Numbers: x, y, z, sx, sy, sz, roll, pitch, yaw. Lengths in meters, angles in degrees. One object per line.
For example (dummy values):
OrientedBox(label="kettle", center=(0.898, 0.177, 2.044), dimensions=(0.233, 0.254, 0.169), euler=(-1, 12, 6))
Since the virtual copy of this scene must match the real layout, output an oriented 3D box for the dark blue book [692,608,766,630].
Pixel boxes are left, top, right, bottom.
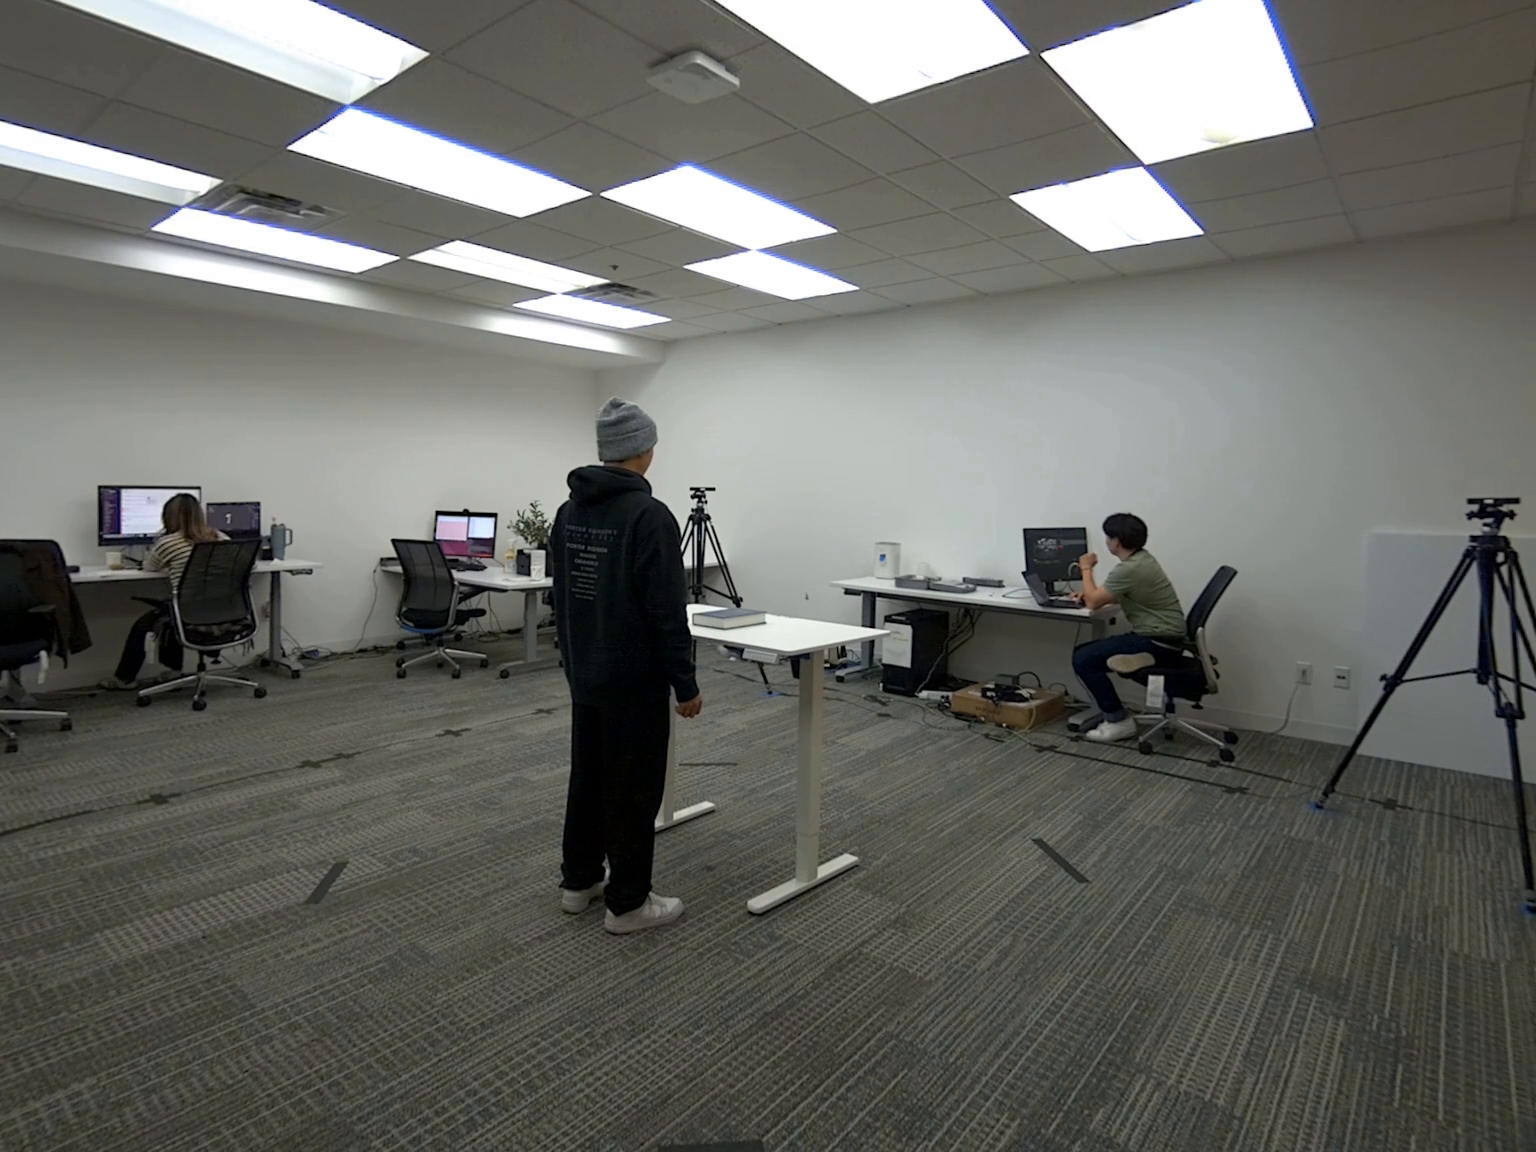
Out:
OrientedBox(label="dark blue book", center=(-0.150, 0.156, 3.189), dimensions=(0.169, 0.045, 0.238), euler=(5, 6, 40))
